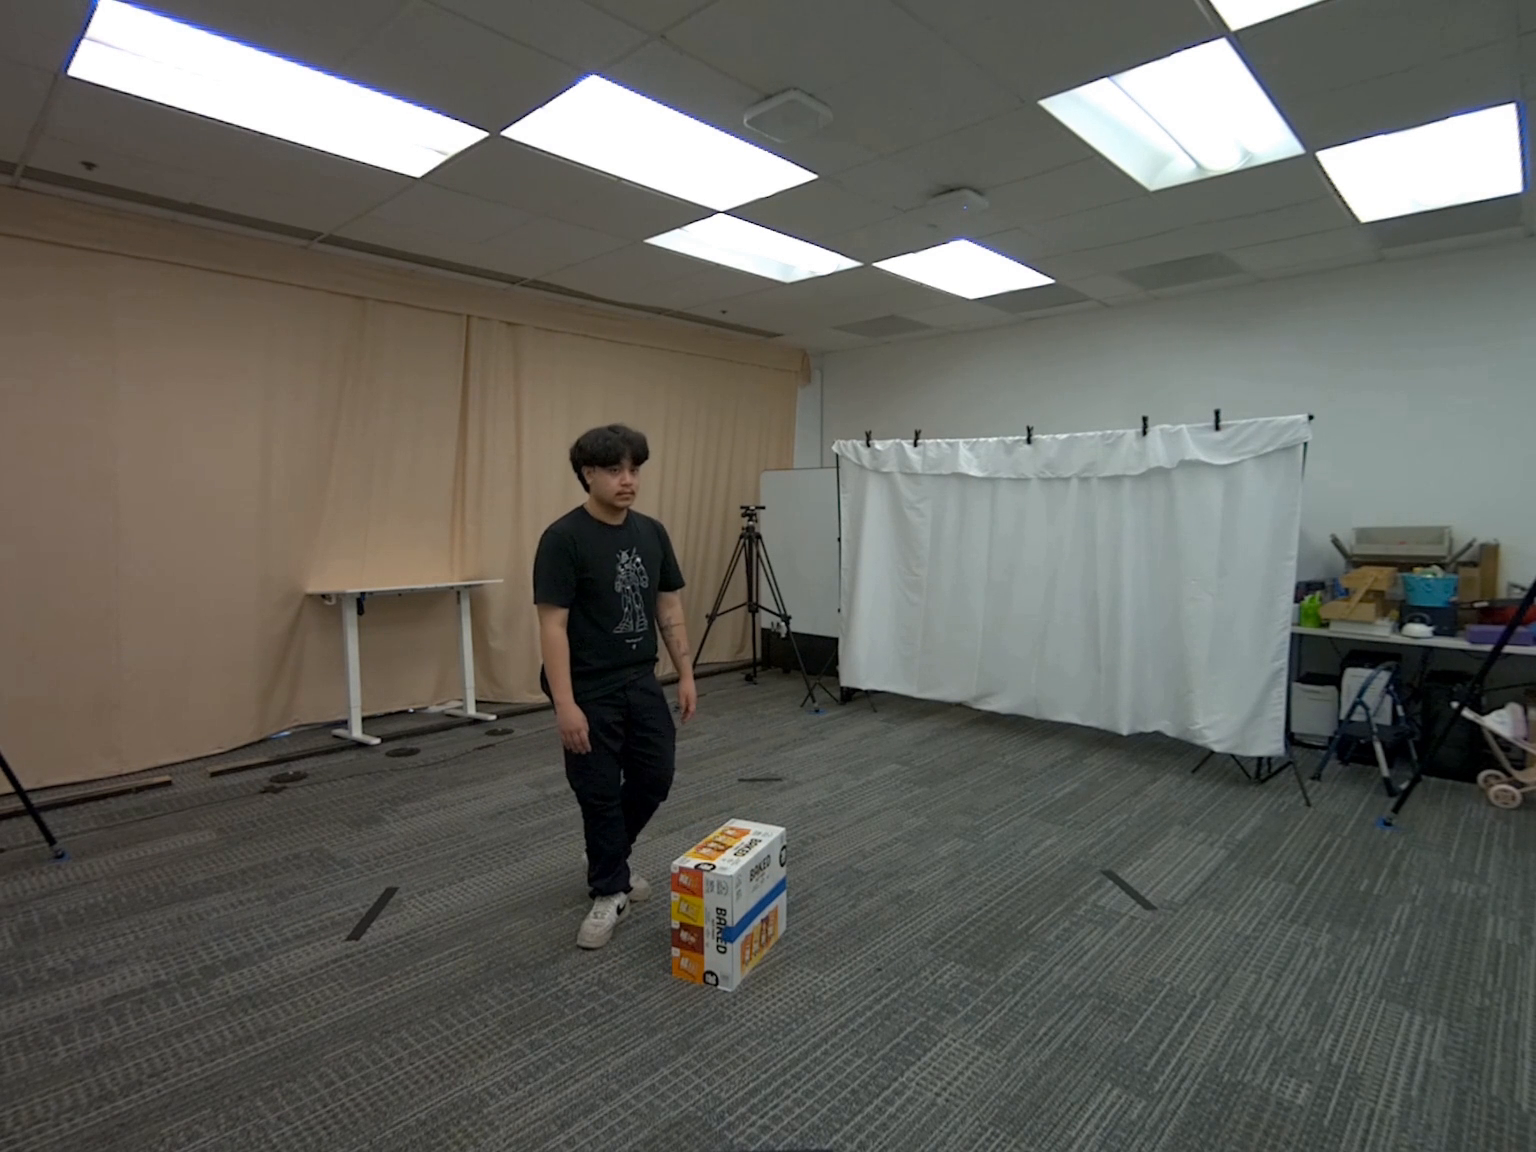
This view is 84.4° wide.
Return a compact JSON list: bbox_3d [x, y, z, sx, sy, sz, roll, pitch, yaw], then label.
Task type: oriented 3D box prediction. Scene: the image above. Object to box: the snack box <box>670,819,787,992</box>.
[{"bbox_3d":[-0.110,1.004,2.621,0.211,0.340,0.395,1,4,25],"label":"snack box"}]
